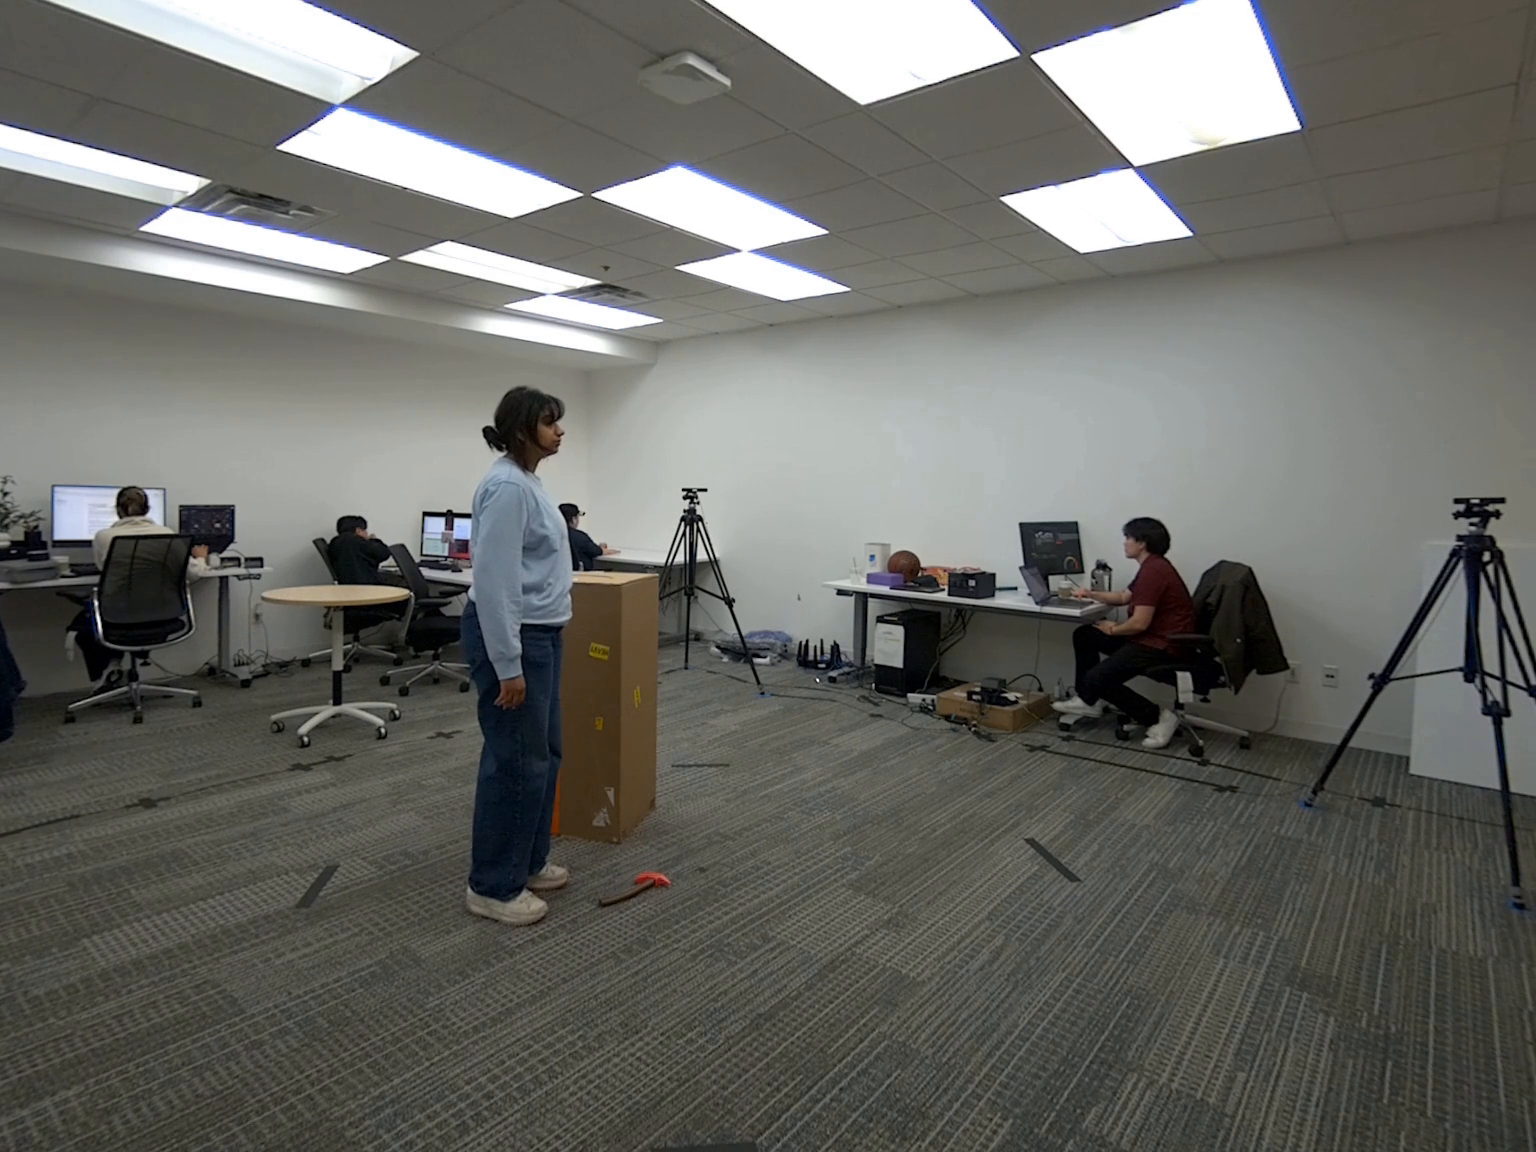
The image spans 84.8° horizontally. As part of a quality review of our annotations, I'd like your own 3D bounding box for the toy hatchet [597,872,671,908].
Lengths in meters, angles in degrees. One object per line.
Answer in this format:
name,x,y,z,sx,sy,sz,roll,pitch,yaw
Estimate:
toy hatchet,-0.484,1.078,2.925,0.262,0.029,0.135,-5,7,-38
